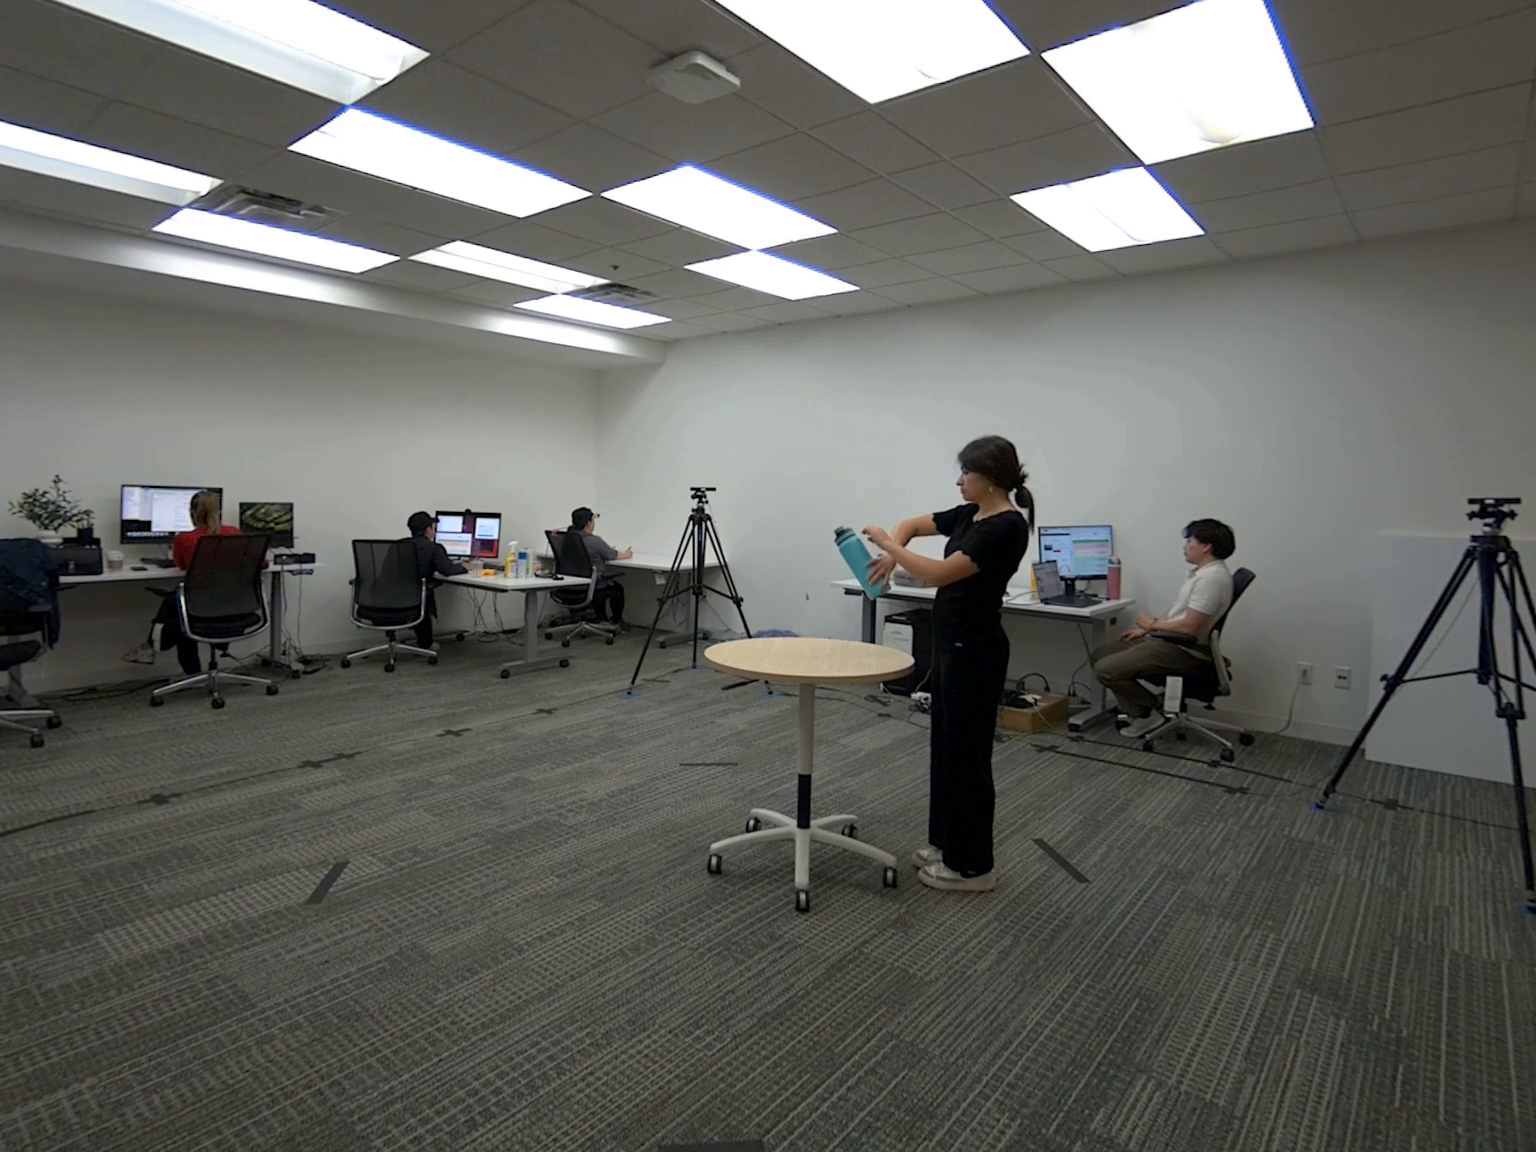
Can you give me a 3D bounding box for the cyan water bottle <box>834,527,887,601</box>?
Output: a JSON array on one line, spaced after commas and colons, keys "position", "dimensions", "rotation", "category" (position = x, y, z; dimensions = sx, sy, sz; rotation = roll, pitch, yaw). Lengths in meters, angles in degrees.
[{"position": [0.337, -0.061, 3.092], "dimensions": [0.092, 0.290, 0.091], "rotation": [-27, -16, -10], "category": "cyan water bottle"}]
